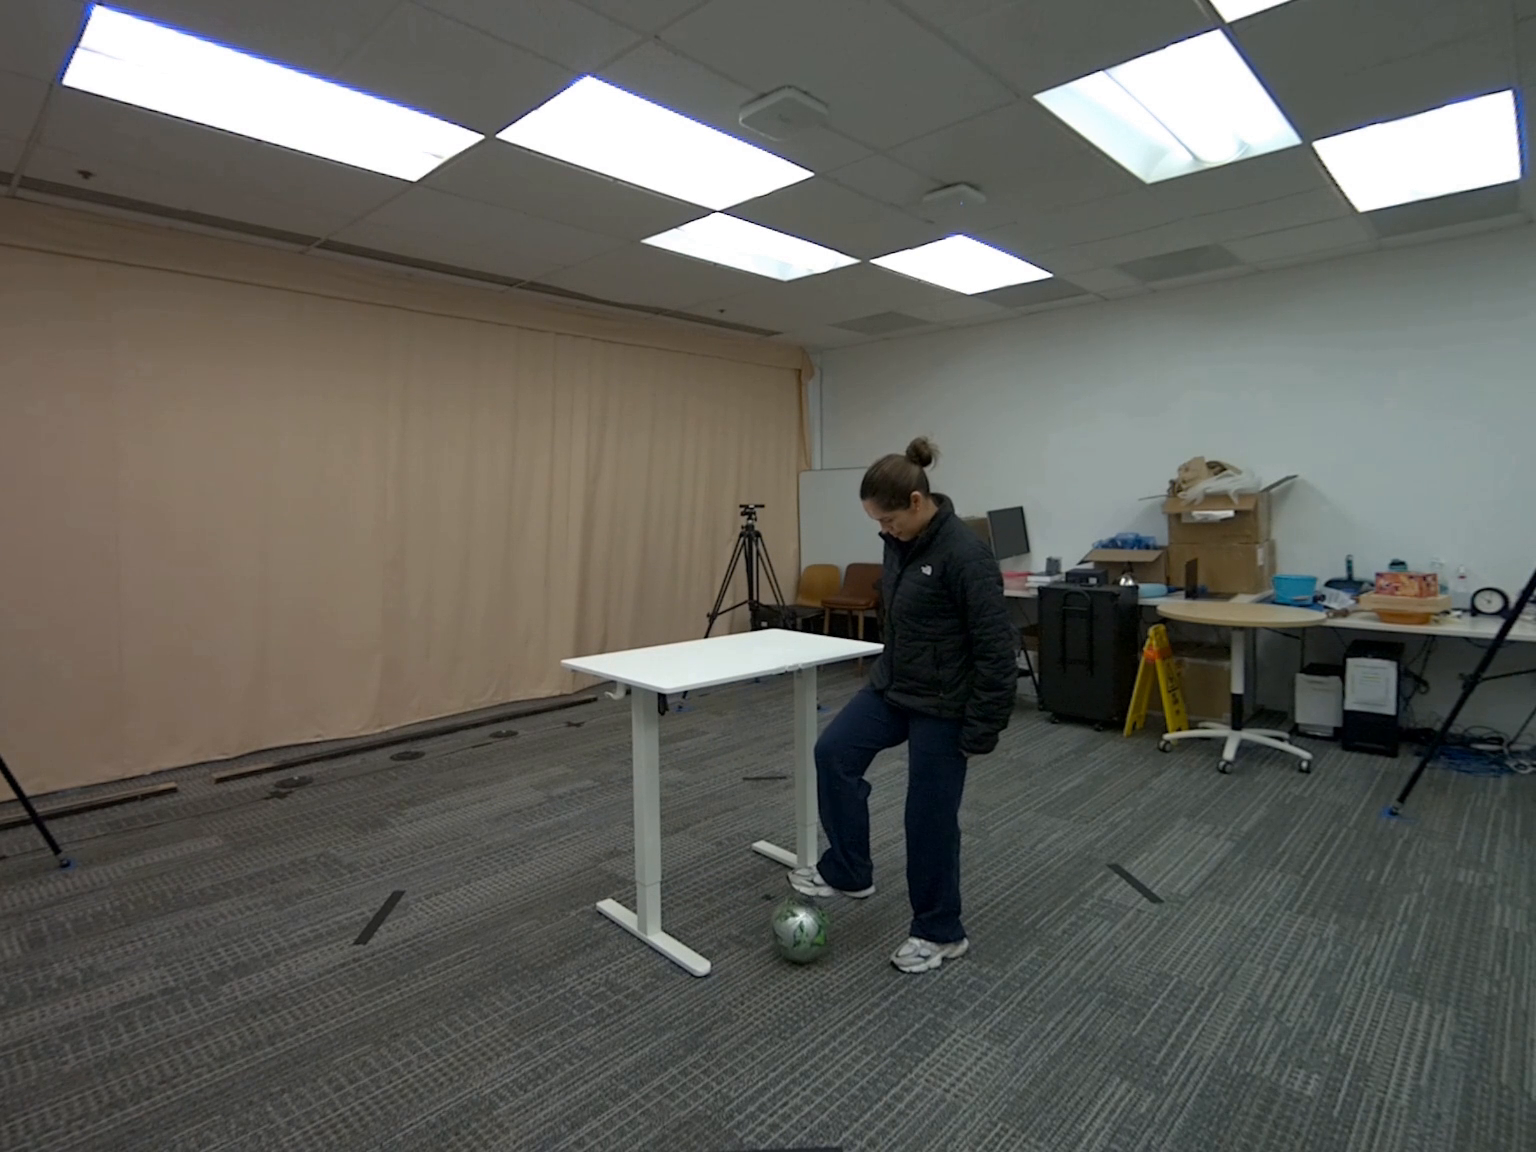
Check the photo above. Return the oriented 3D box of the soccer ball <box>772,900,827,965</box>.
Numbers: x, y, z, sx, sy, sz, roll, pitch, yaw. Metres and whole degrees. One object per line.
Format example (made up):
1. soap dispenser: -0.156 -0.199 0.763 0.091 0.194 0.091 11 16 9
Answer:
1. soccer ball: 0.096 1.088 2.565 0.187 0.187 0.188 -1 4 -2
